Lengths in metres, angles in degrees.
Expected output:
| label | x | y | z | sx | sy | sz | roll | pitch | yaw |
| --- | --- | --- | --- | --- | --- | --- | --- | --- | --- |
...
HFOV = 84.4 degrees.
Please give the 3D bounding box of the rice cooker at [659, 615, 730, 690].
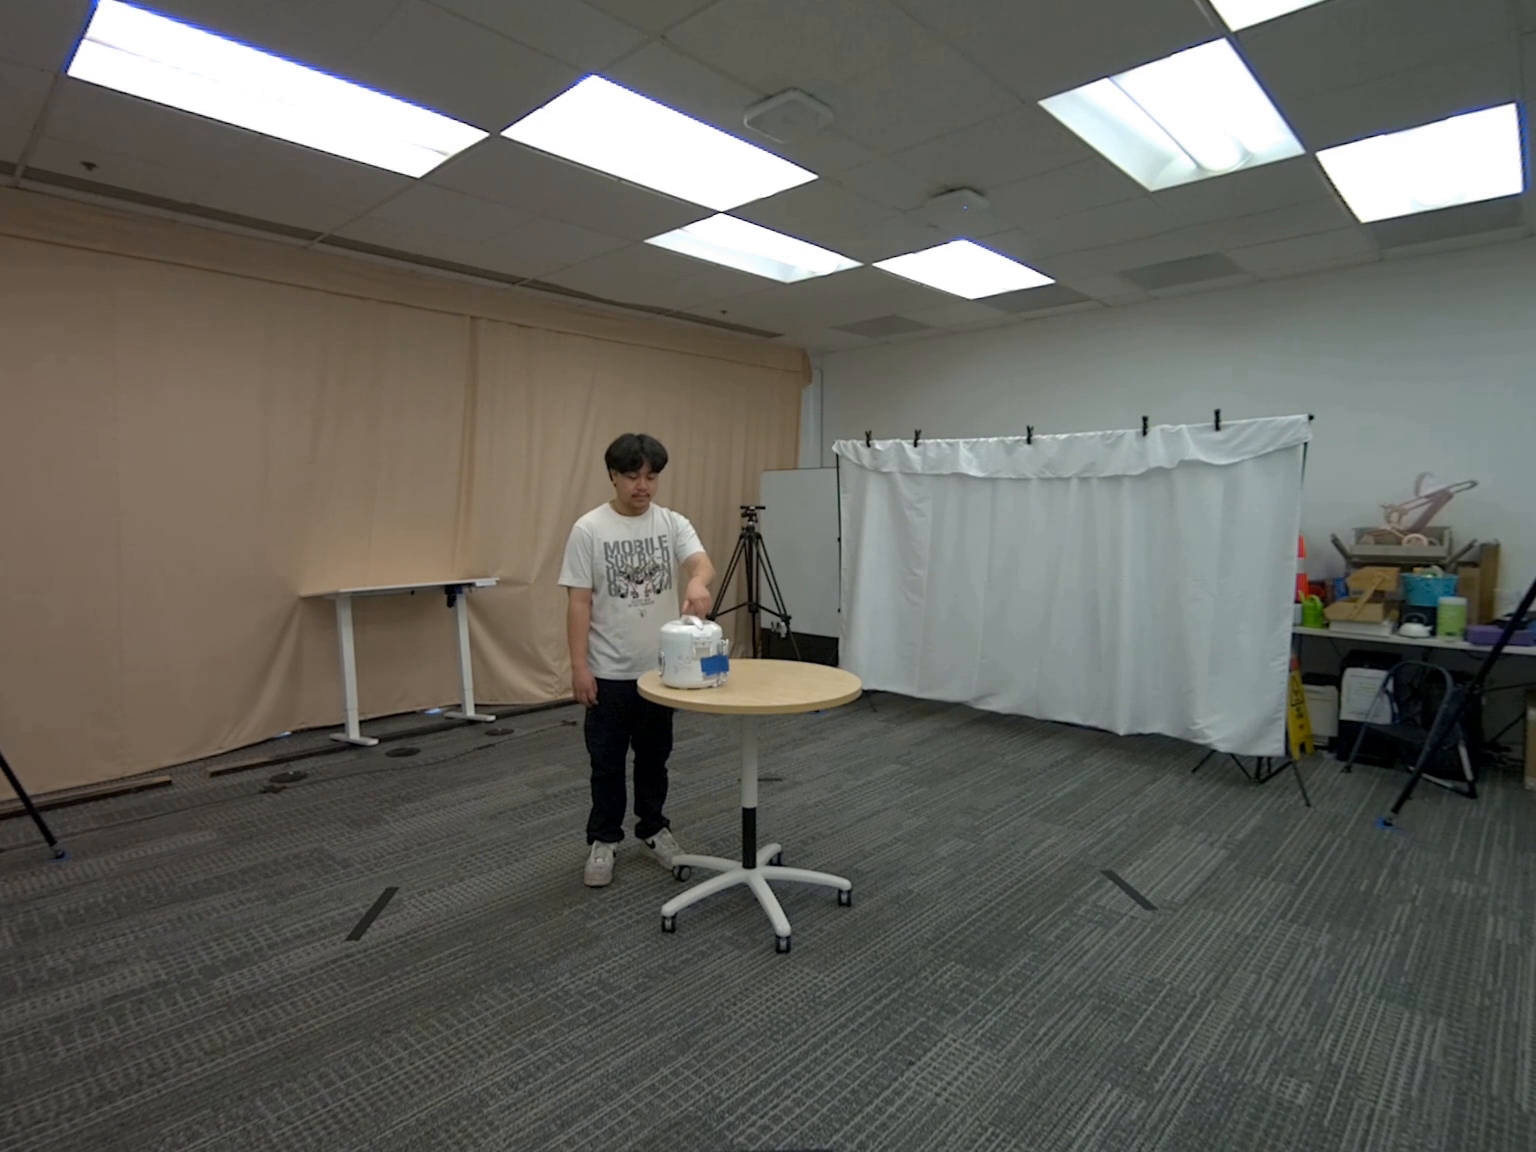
| label | x | y | z | sx | sy | sz | roll | pitch | yaw |
| --- | --- | --- | --- | --- | --- | --- | --- | --- | --- |
| rice cooker | -0.253 | 0.248 | 2.799 | 0.212 | 0.232 | 0.226 | -1 | 3 | -24 |
